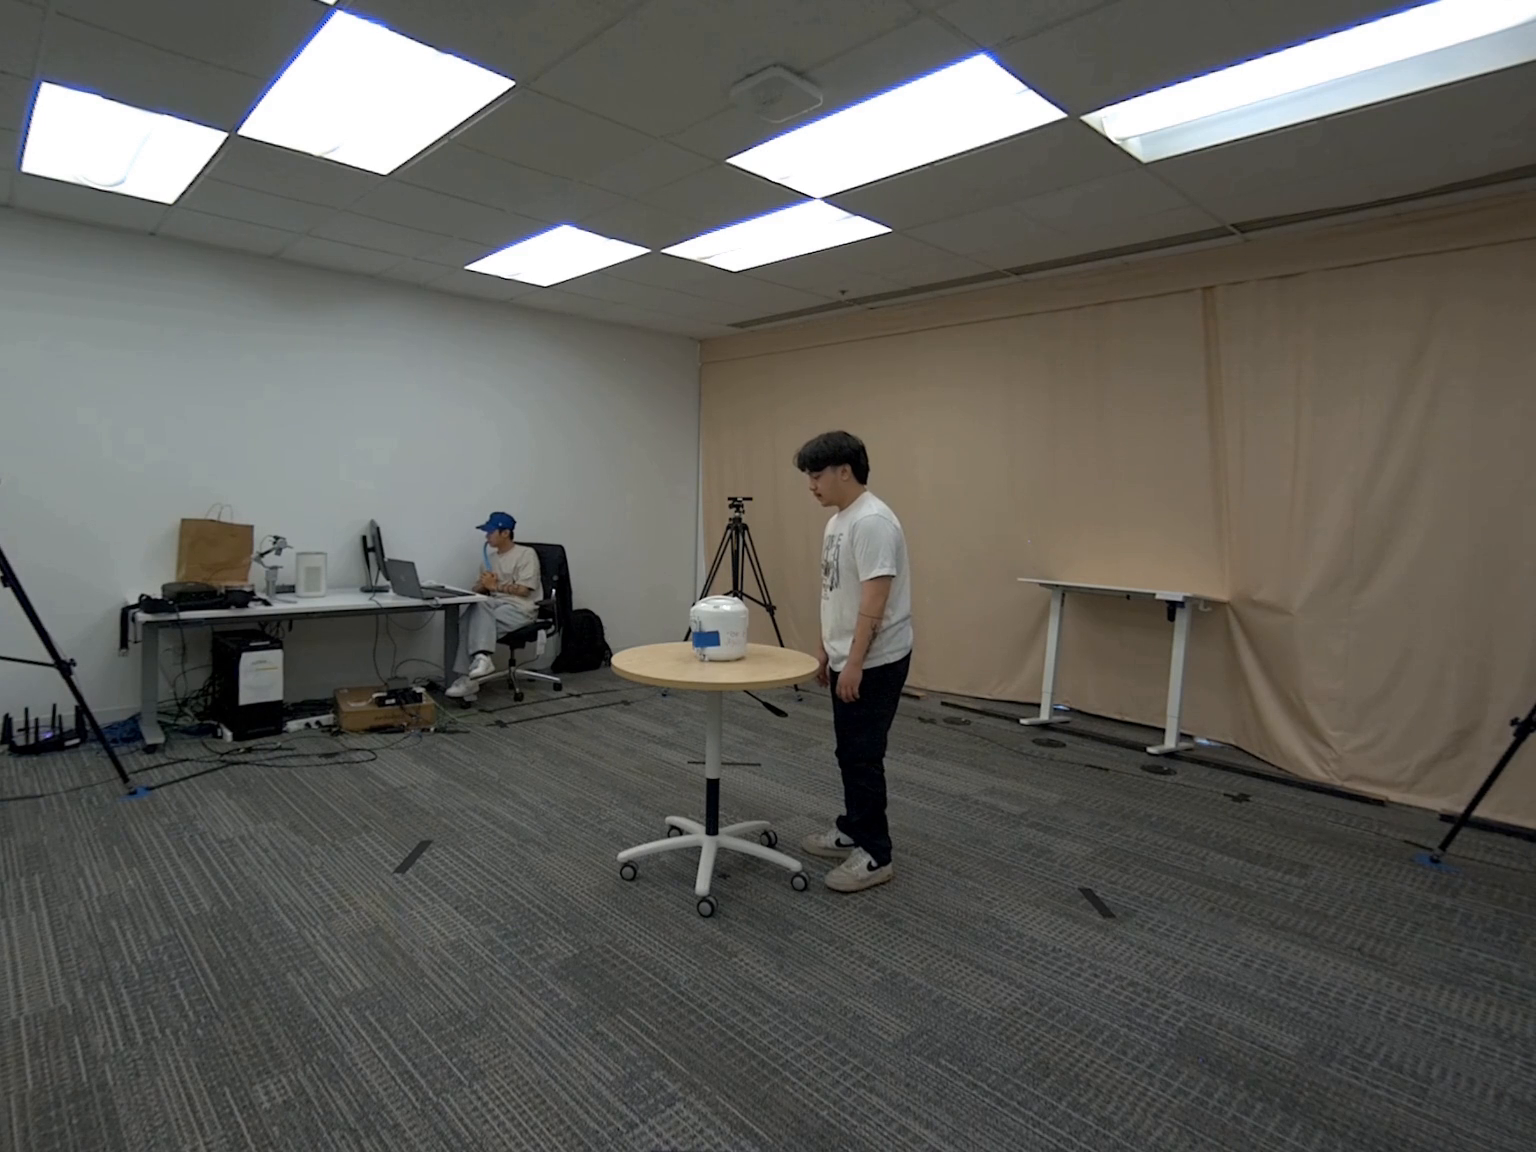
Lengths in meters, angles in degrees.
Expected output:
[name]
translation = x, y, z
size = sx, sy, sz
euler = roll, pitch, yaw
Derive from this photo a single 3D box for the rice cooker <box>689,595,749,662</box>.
[rice cooker]
translation = -0.190, 0.185, 3.149
size = 0.220, 0.232, 0.219
euler = 1, 4, -5
